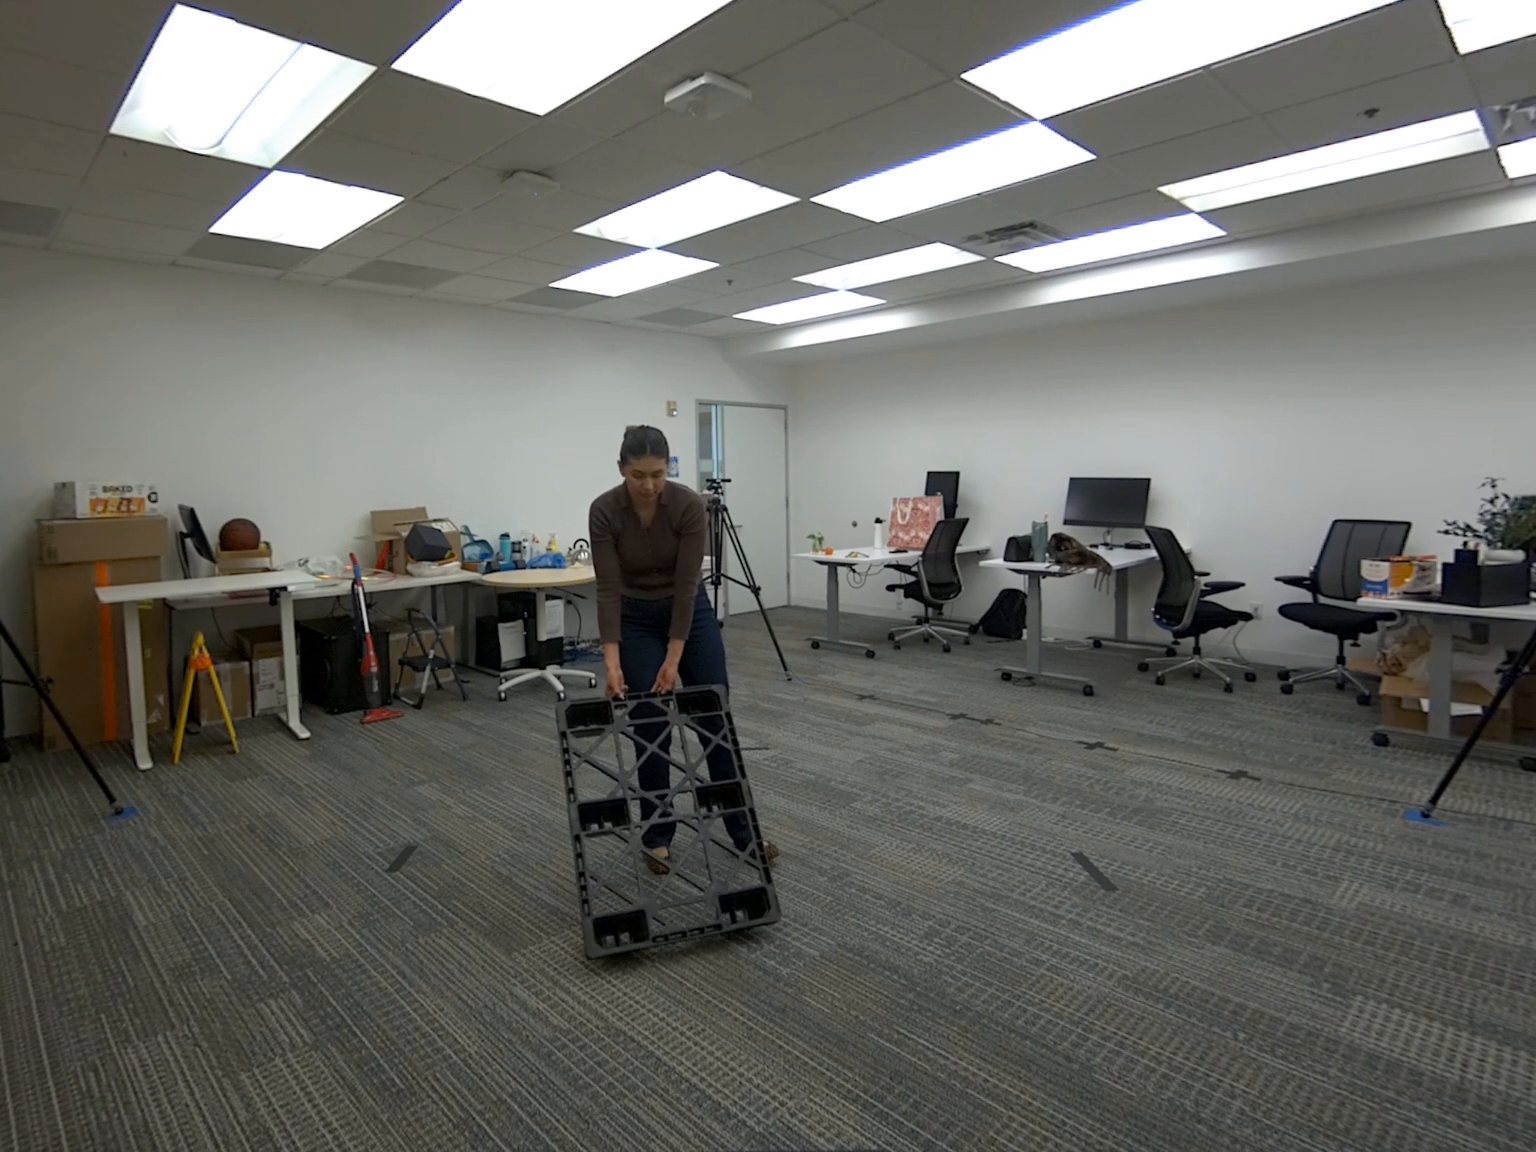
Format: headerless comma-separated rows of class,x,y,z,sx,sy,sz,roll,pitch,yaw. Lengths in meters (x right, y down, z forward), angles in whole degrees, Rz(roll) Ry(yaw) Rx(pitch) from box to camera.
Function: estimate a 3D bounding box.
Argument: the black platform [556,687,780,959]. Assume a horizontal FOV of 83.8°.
black platform,-0.342,0.765,2.778,0.595,0.831,0.141,-3,-35,-19
